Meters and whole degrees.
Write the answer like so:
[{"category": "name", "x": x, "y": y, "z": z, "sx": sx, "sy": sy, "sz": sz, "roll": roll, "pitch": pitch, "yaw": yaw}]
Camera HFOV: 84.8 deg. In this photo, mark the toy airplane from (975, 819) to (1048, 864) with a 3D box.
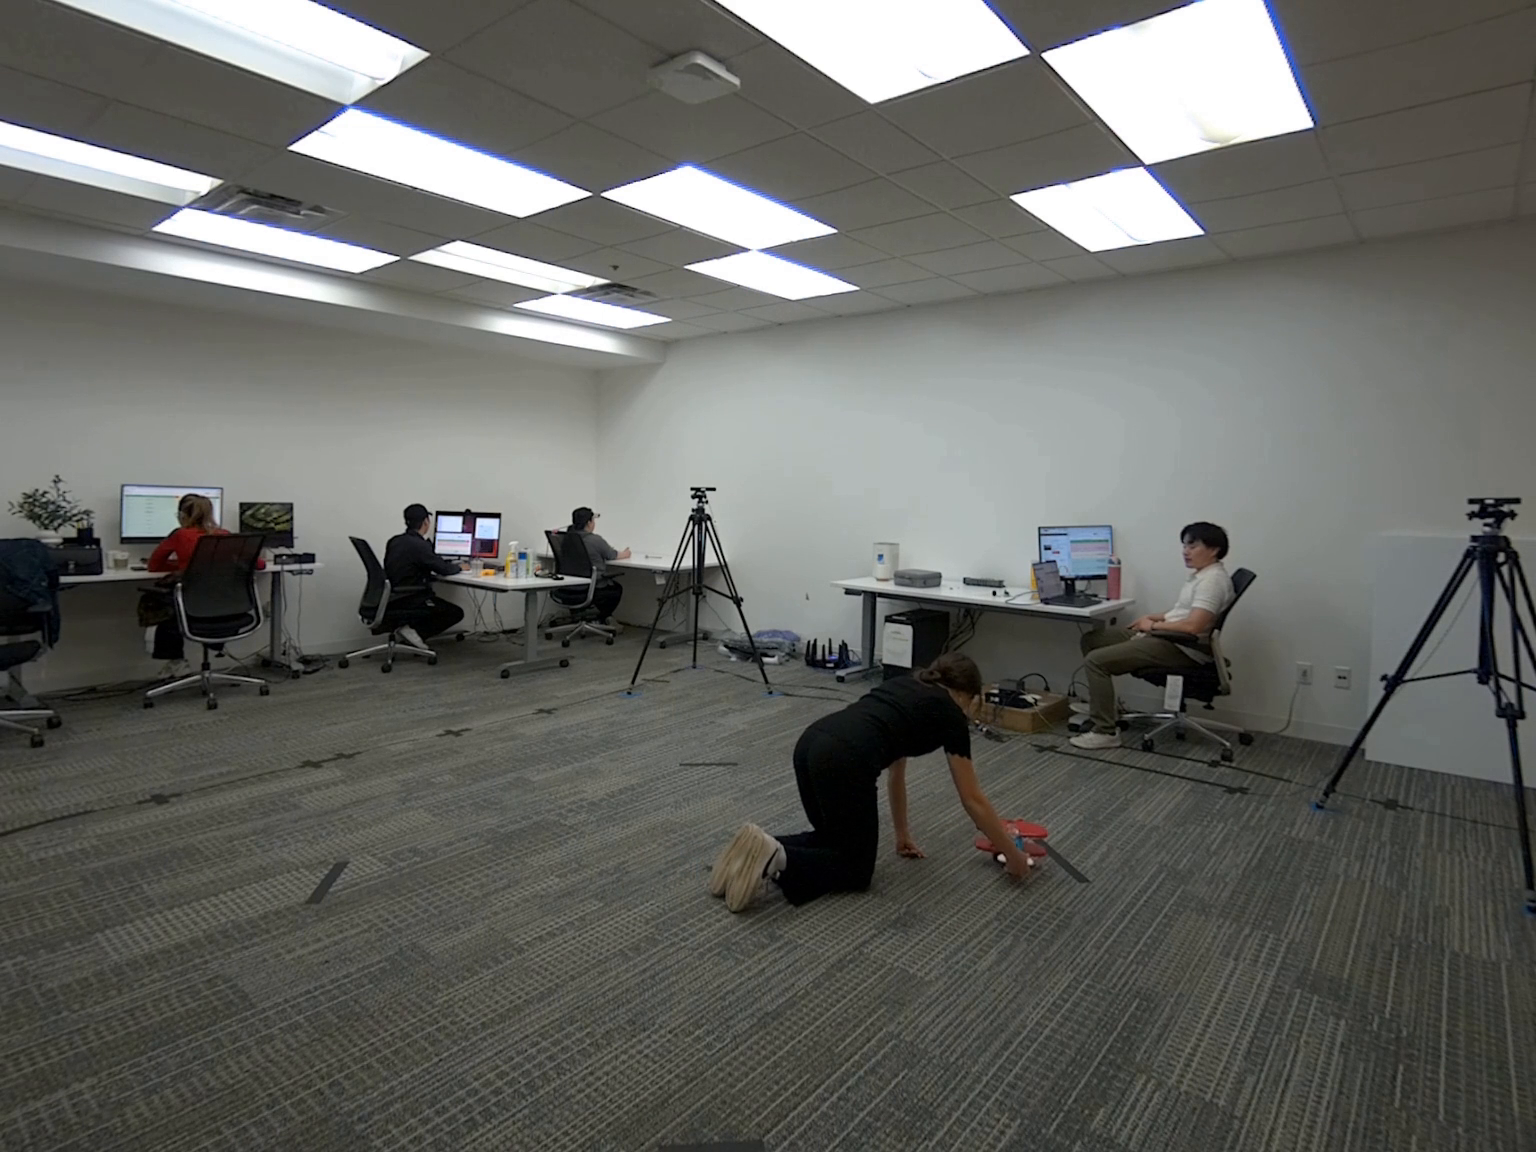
[{"category": "toy airplane", "x": 0.928, "y": 1.012, "z": 3.165, "sx": 0.246, "sy": 0.157, "sz": 0.263, "roll": 4, "pitch": -3, "yaw": -17}]
